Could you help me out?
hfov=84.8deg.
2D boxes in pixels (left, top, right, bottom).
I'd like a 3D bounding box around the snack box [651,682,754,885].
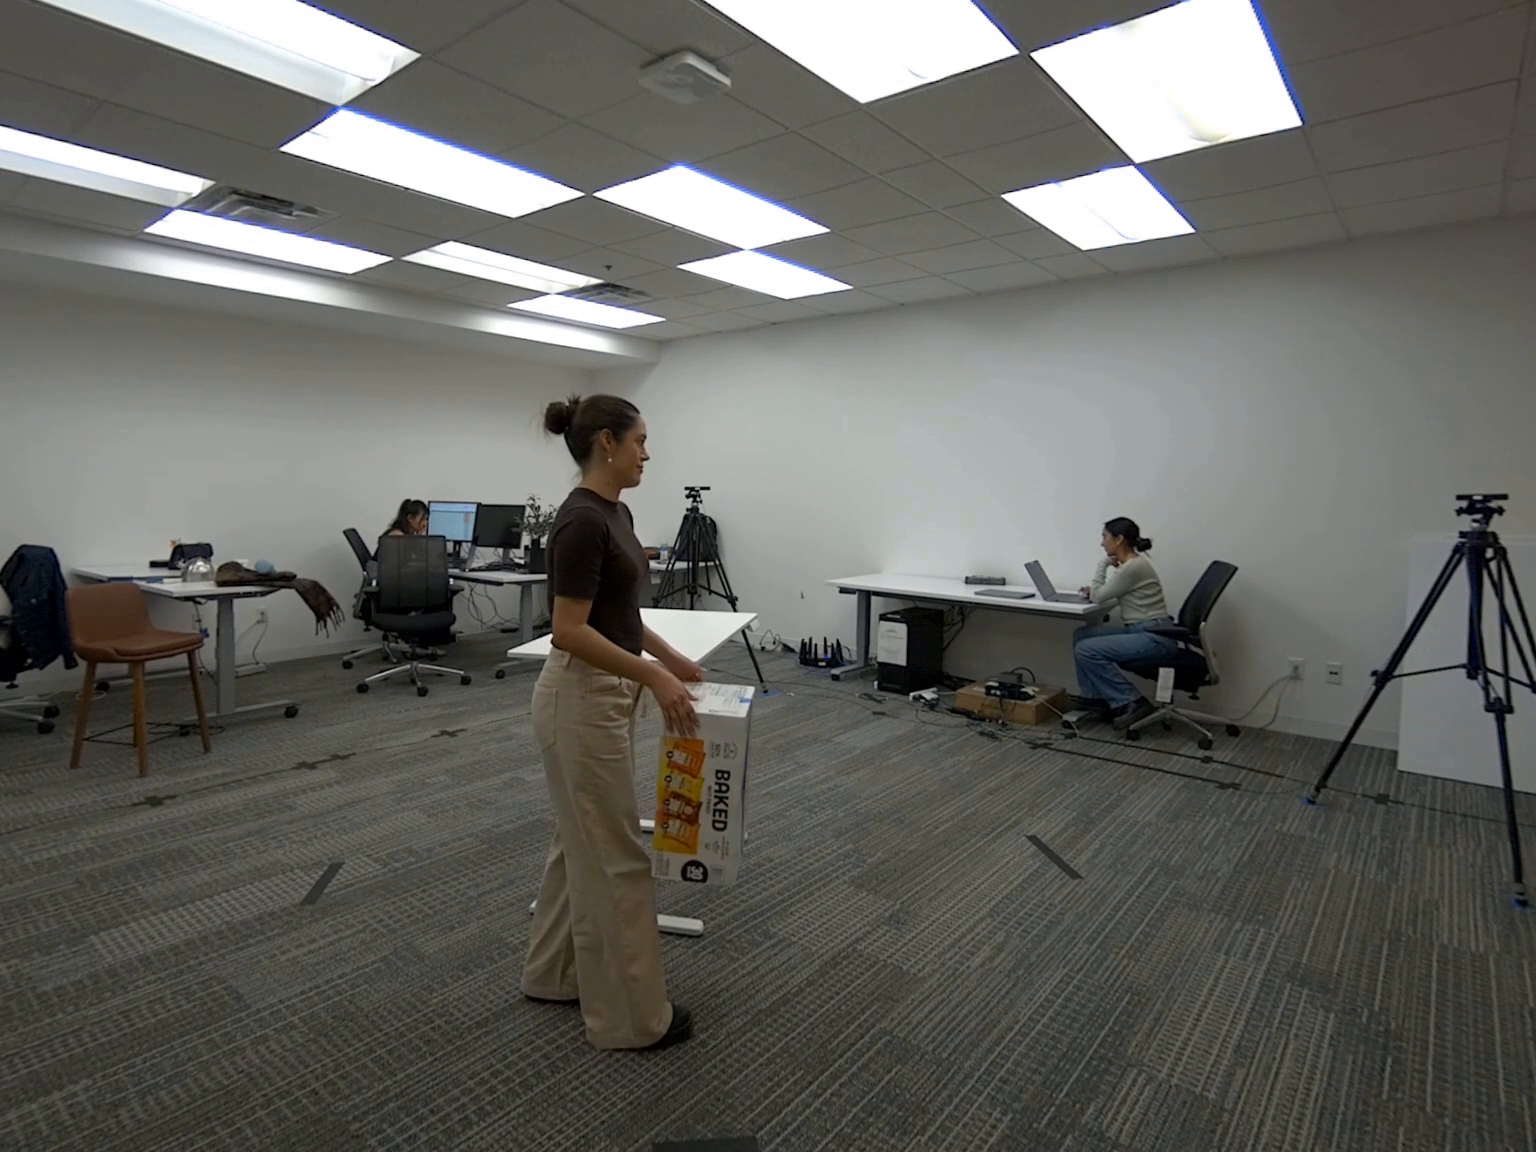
[{"bbox_3d":[-0.159,0.514,2.154,0.206,0.404,0.341,3,4,1],"label":"snack box"}]
